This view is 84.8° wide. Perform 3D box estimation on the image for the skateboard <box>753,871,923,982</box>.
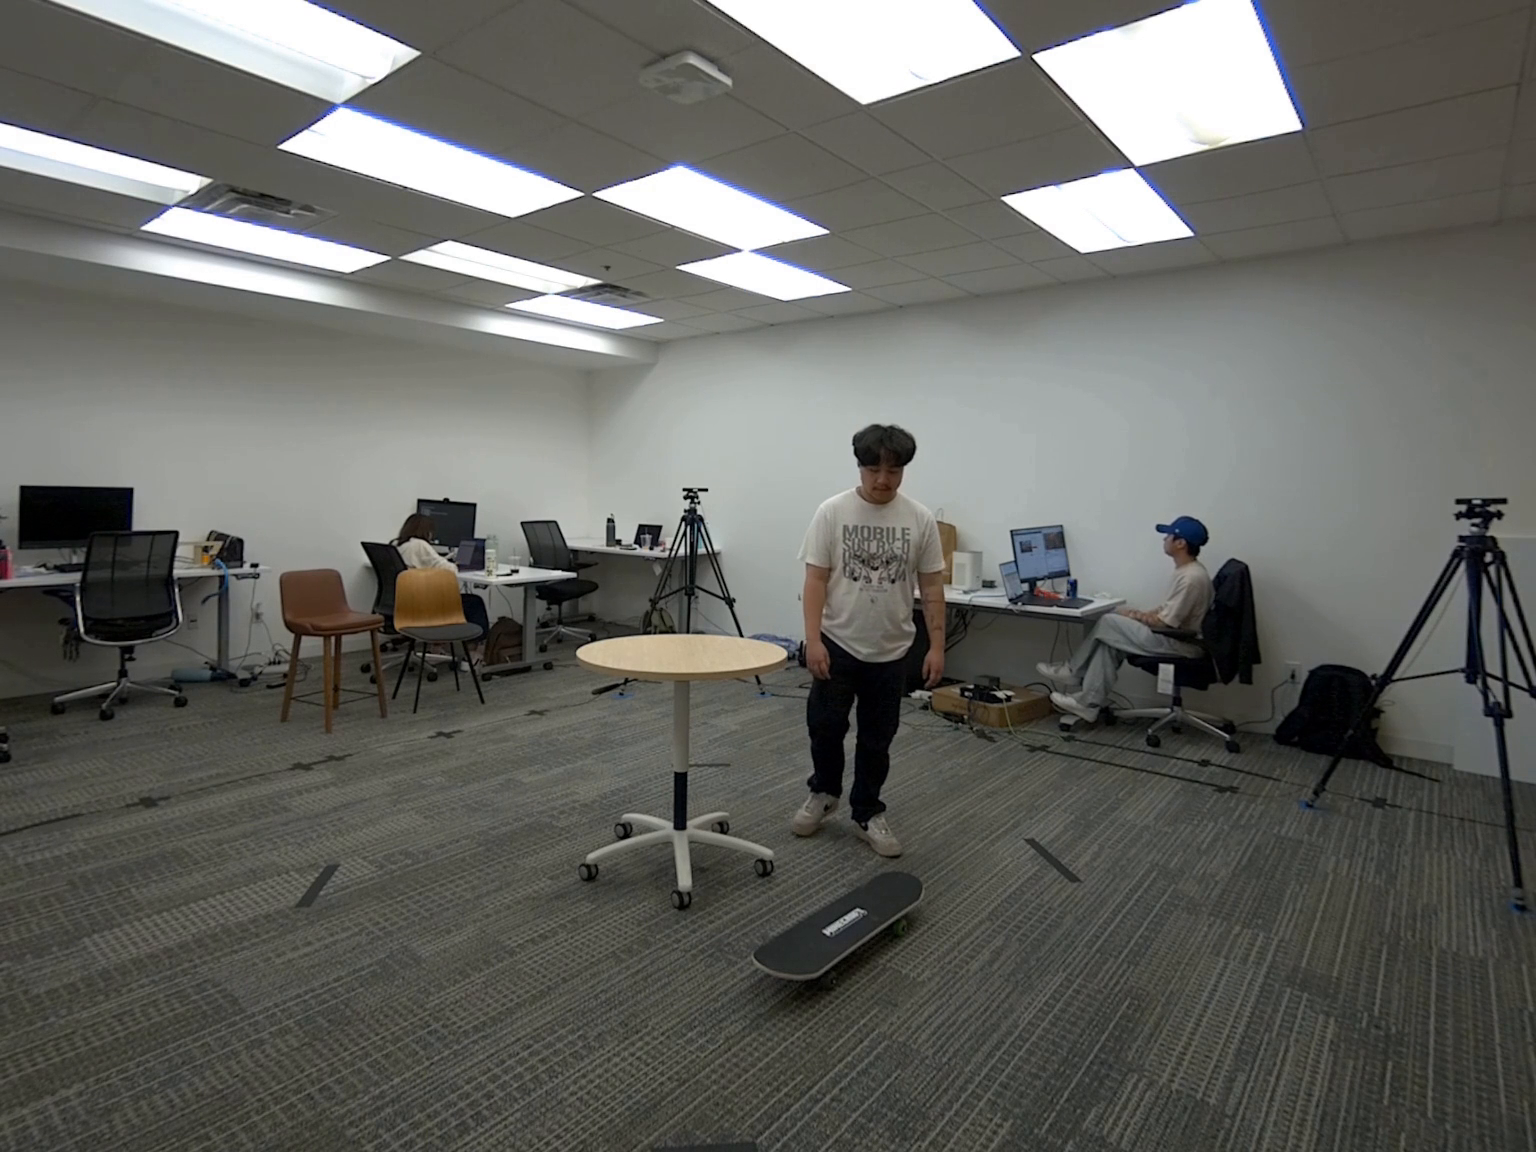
[{"bbox_3d":[0.237,1.079,2.578,0.200,0.110,0.762,6,7,39],"label":"skateboard"}]
